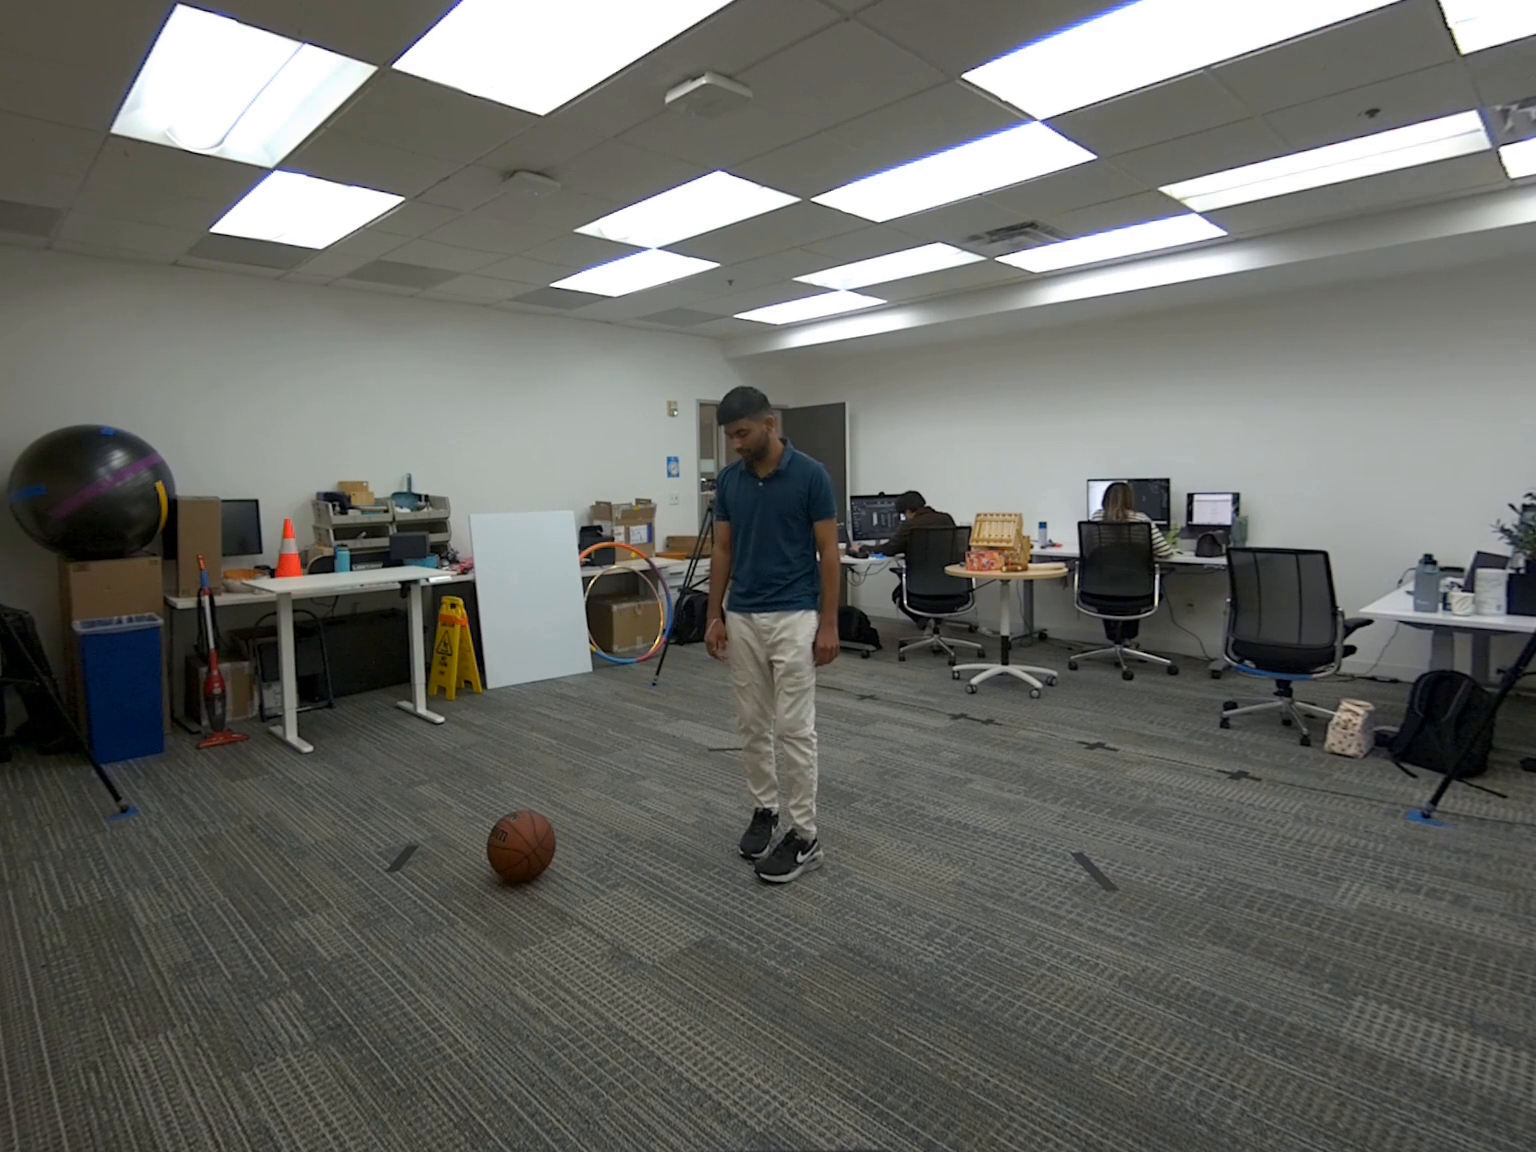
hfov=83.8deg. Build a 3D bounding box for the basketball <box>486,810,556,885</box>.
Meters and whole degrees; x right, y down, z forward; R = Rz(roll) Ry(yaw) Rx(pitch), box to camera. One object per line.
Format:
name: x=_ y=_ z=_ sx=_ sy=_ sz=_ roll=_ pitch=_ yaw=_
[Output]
basketball: x=-0.870 y=0.952 z=3.017 sx=0.236 sy=0.235 sz=0.237 roll=-1 pitch=5 yaw=-2
